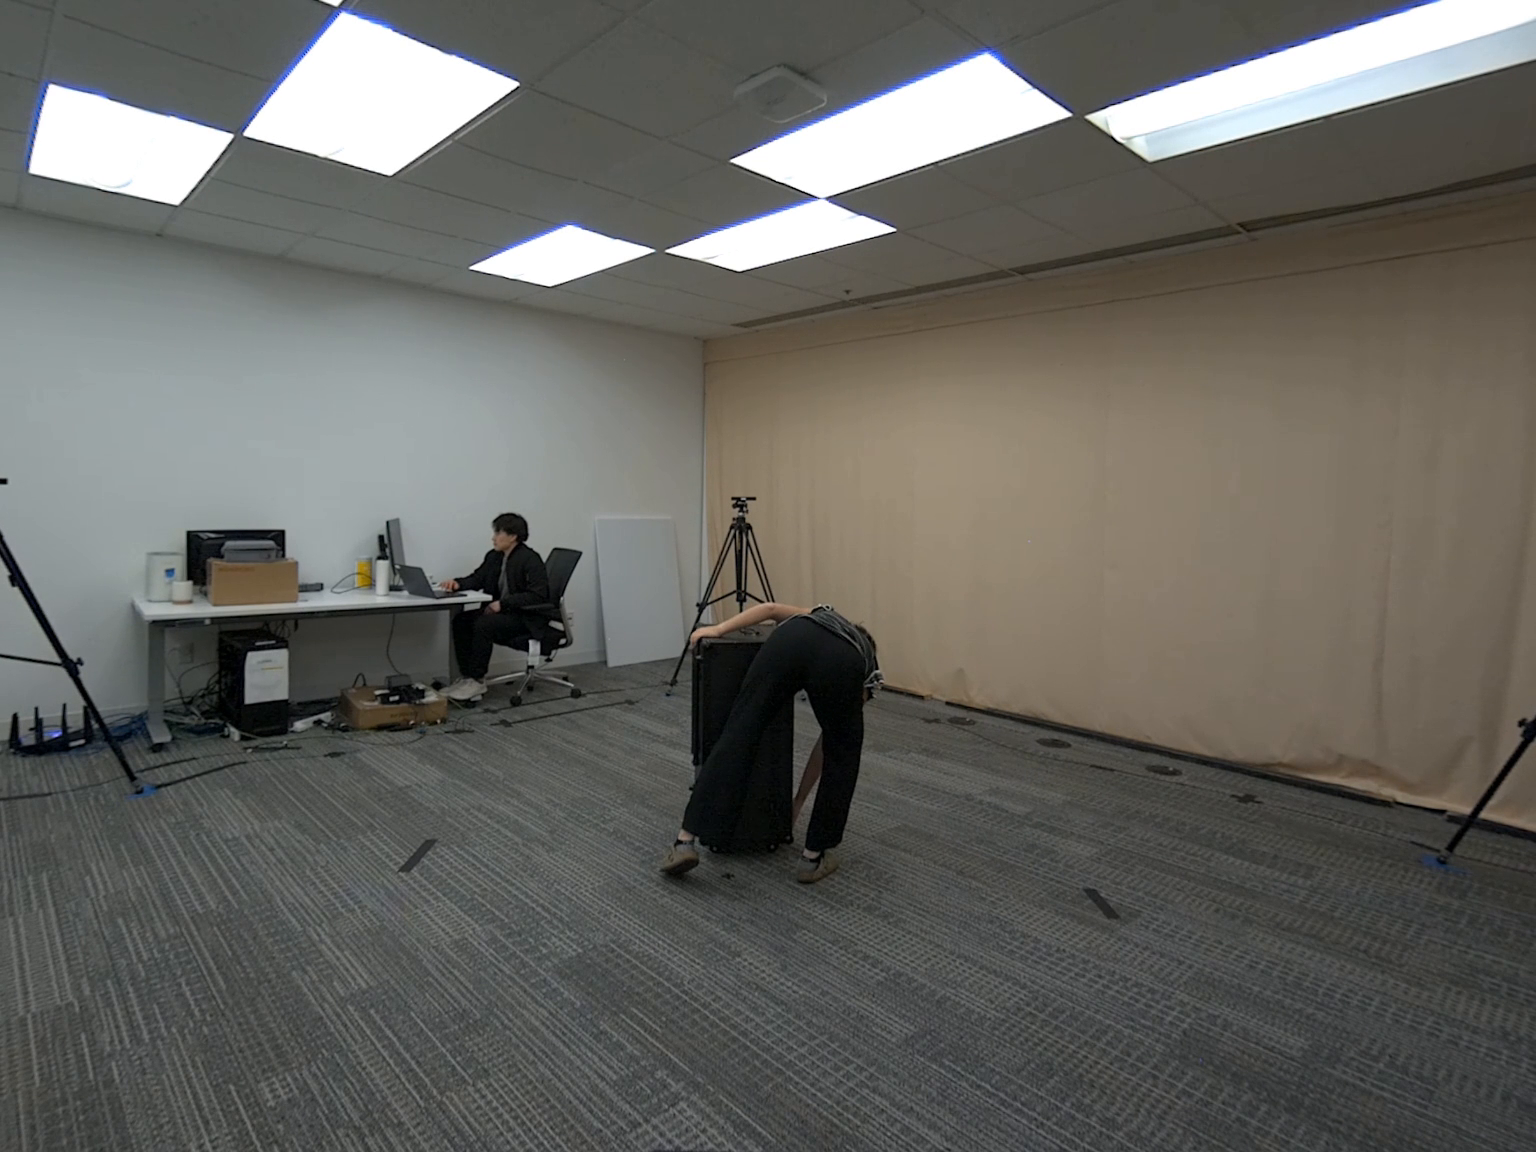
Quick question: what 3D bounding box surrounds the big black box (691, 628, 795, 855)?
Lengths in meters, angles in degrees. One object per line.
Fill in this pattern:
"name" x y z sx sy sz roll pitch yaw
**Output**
"big black box" -0.124 0.653 3.439 0.395 0.859 0.524 0 4 -4
